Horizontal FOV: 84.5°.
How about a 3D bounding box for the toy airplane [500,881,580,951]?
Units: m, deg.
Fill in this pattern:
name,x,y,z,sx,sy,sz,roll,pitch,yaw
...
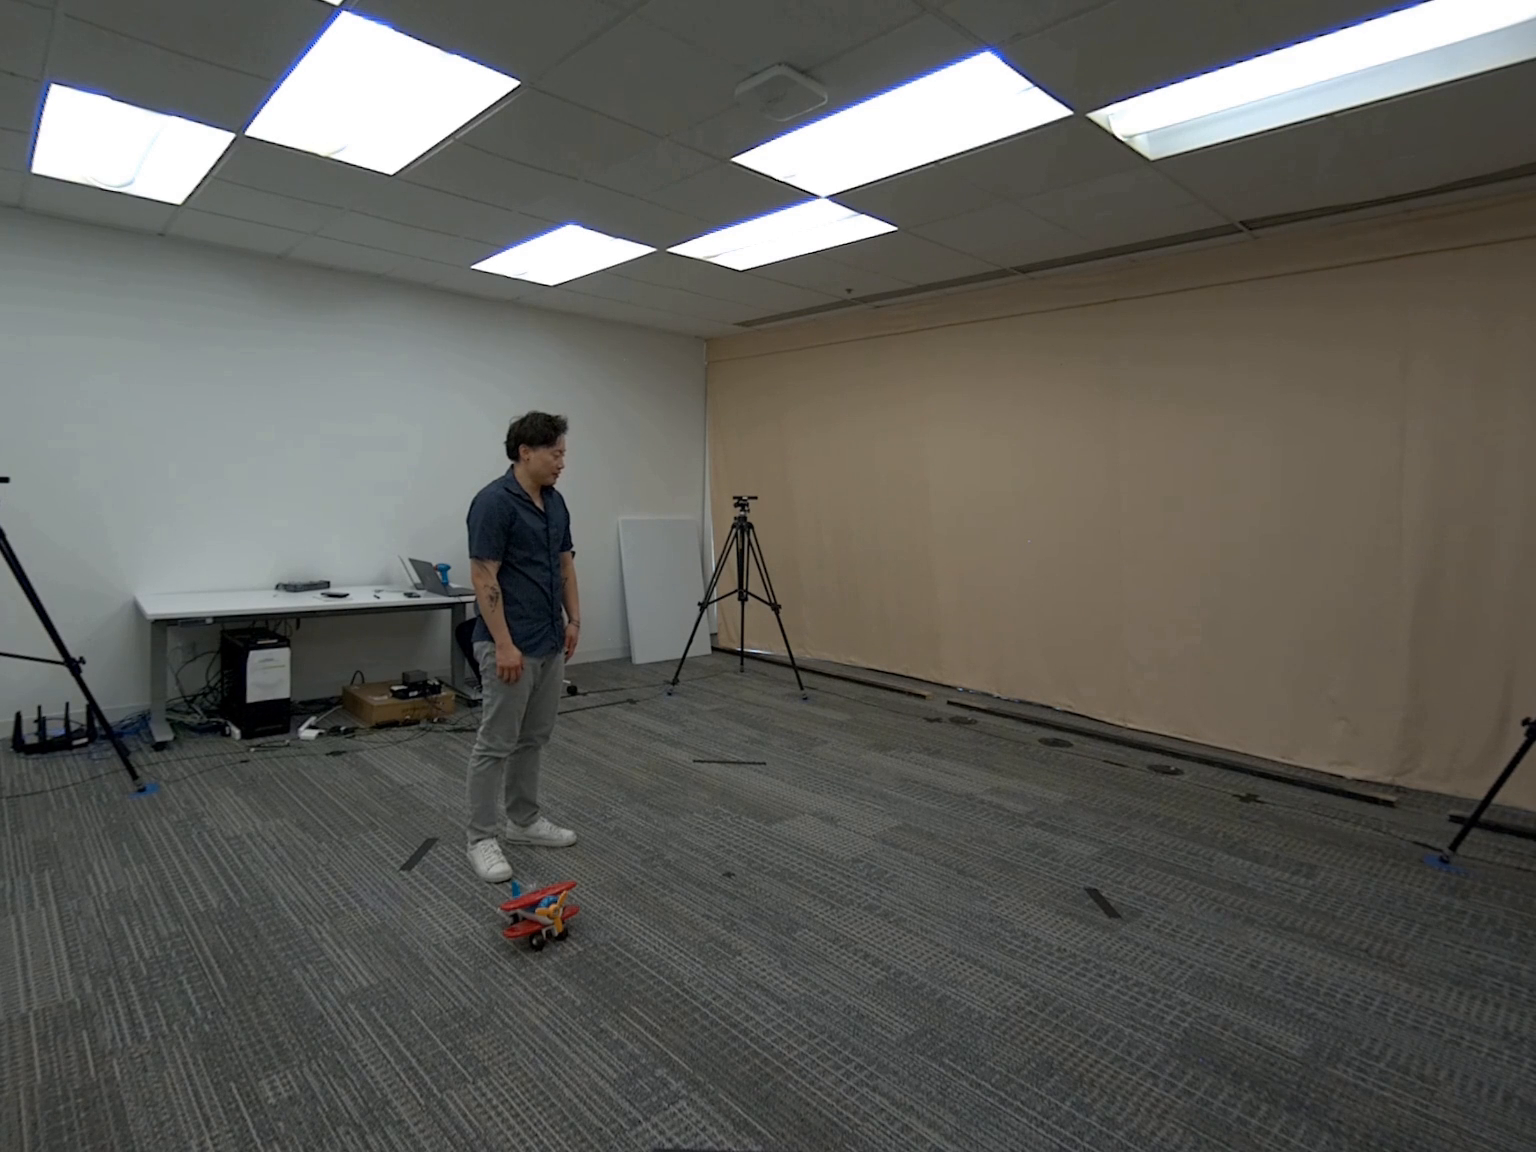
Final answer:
name,x,y,z,sx,sy,sz,roll,pitch,yaw
toy airplane,-0.750,1.058,2.635,0.263,0.156,0.248,3,6,17
